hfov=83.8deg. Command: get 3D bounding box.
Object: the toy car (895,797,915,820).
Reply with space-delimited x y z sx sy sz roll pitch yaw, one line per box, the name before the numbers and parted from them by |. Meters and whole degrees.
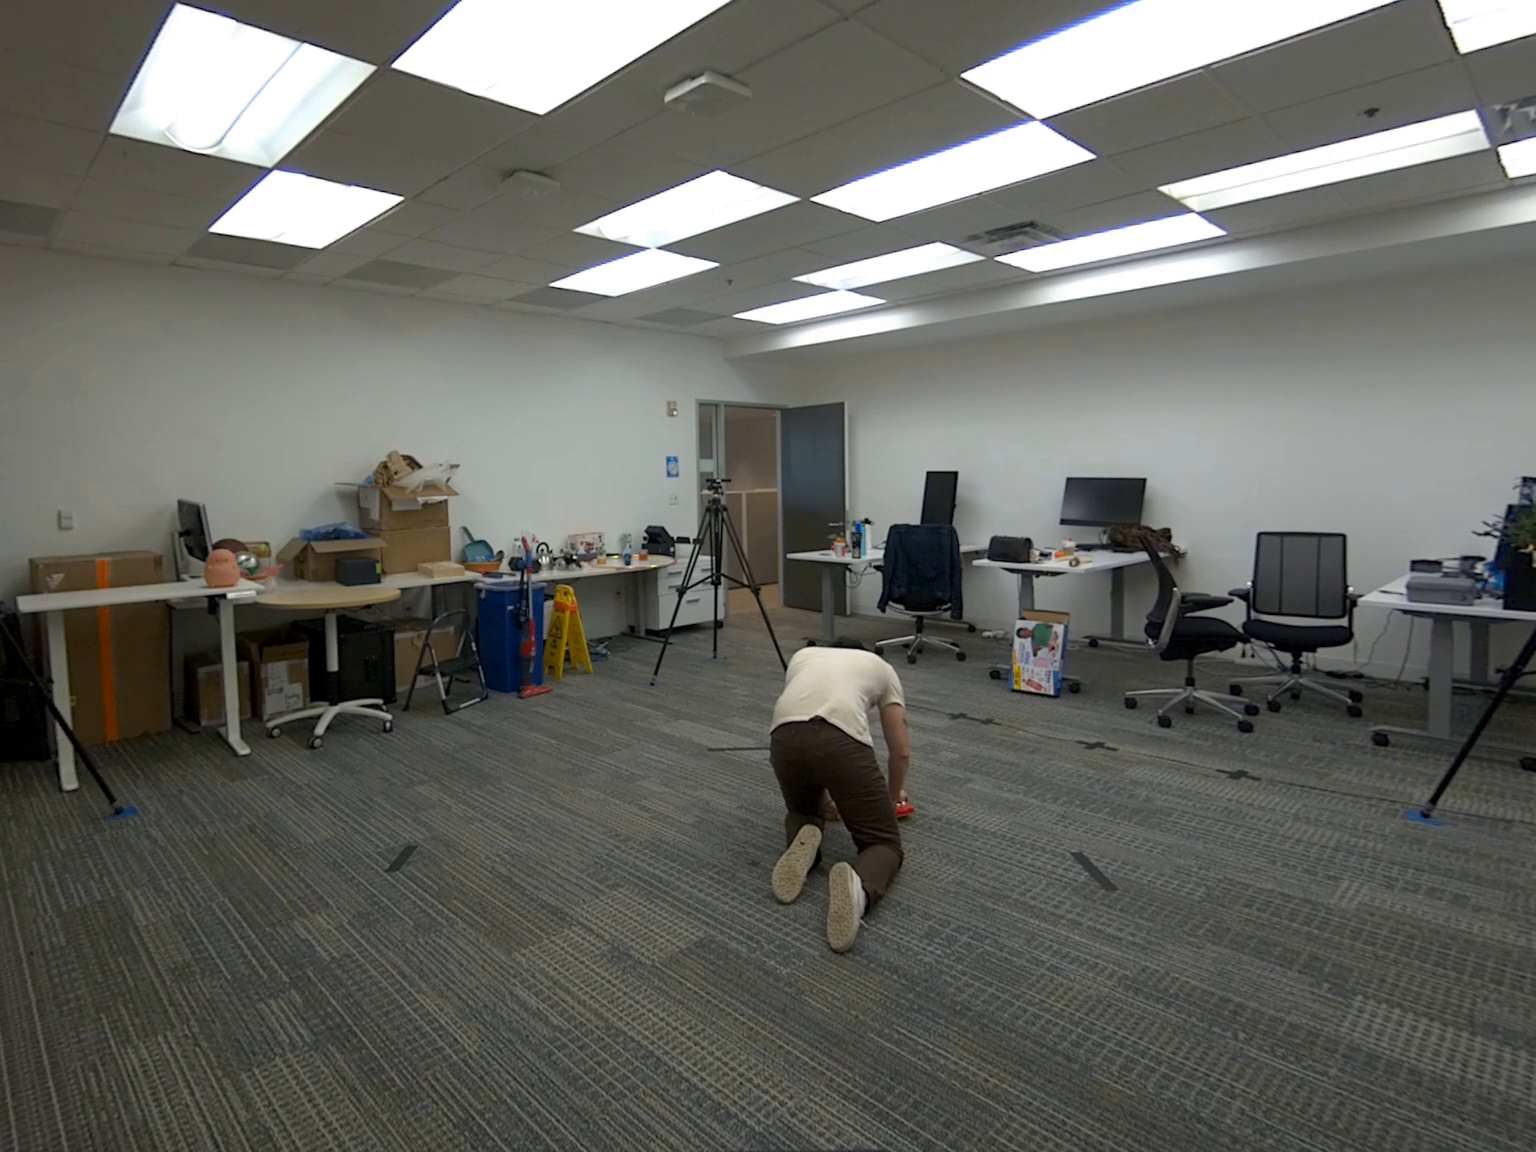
toy car | 0.516 0.953 3.559 0.127 0.083 0.259 -4 -2 -27
